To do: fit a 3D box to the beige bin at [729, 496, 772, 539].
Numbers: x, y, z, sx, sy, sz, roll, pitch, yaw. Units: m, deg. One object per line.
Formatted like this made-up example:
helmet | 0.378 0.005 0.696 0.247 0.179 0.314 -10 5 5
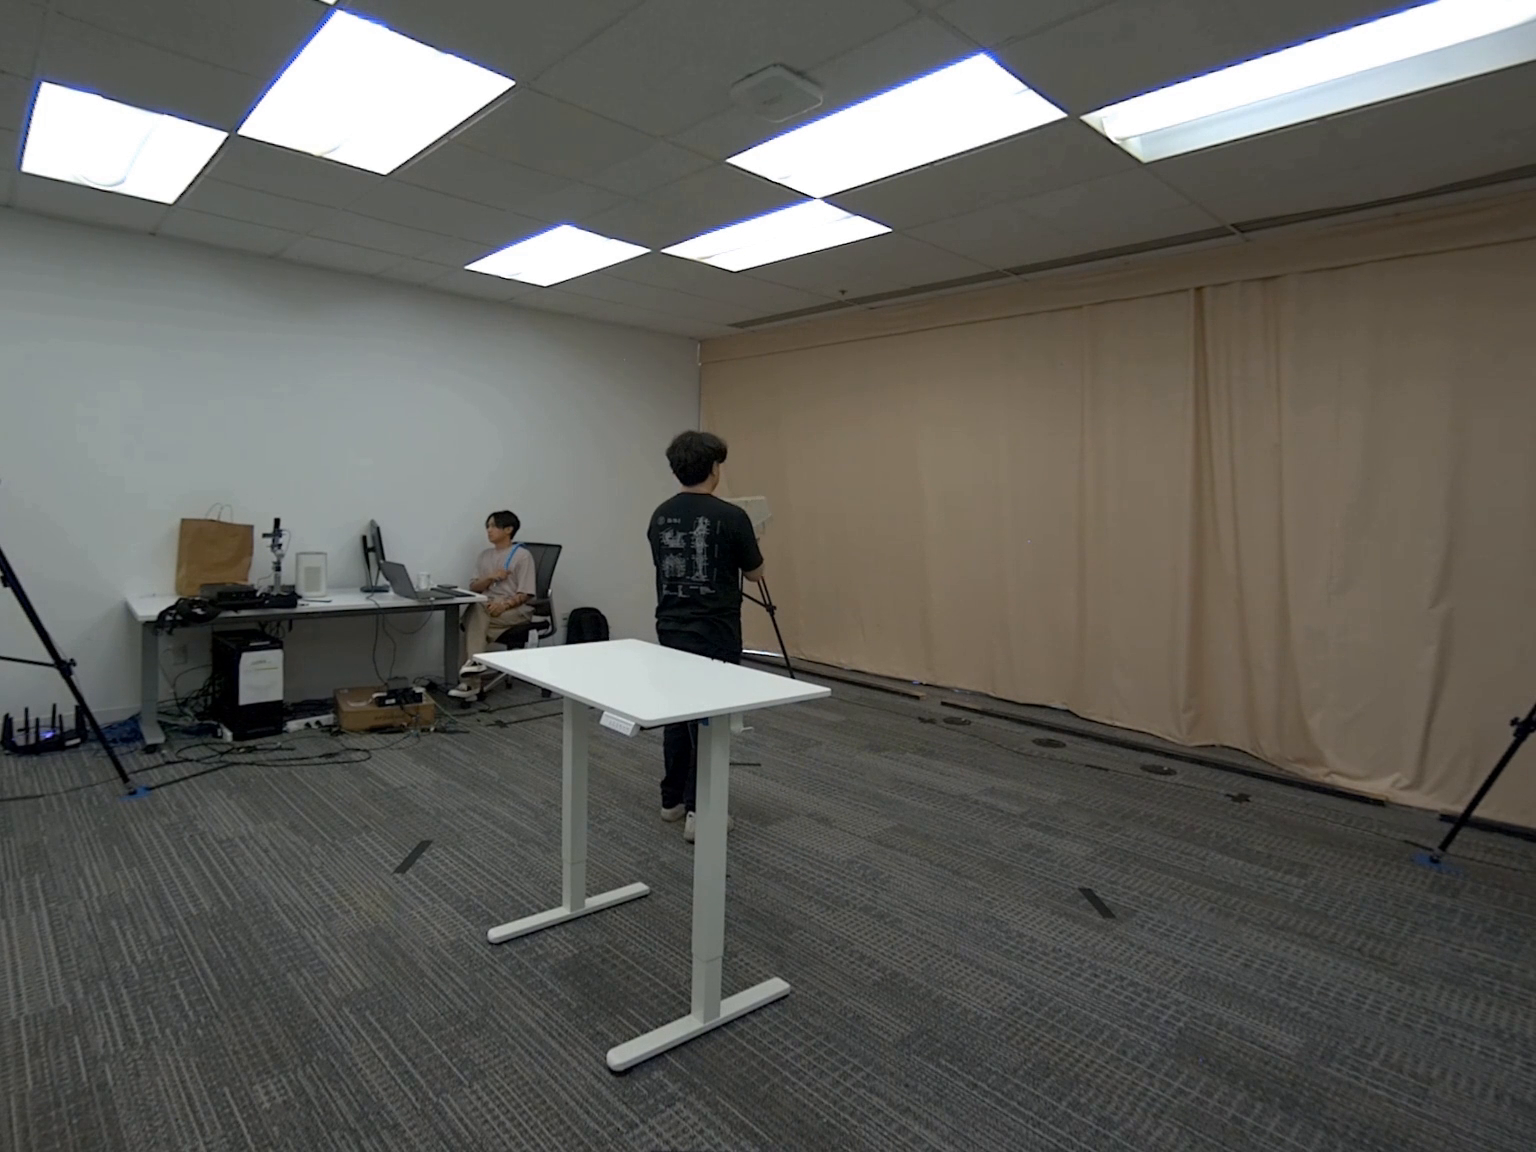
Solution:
beige bin | -0.220 -0.241 3.936 0.383 0.187 0.420 -2 14 19
